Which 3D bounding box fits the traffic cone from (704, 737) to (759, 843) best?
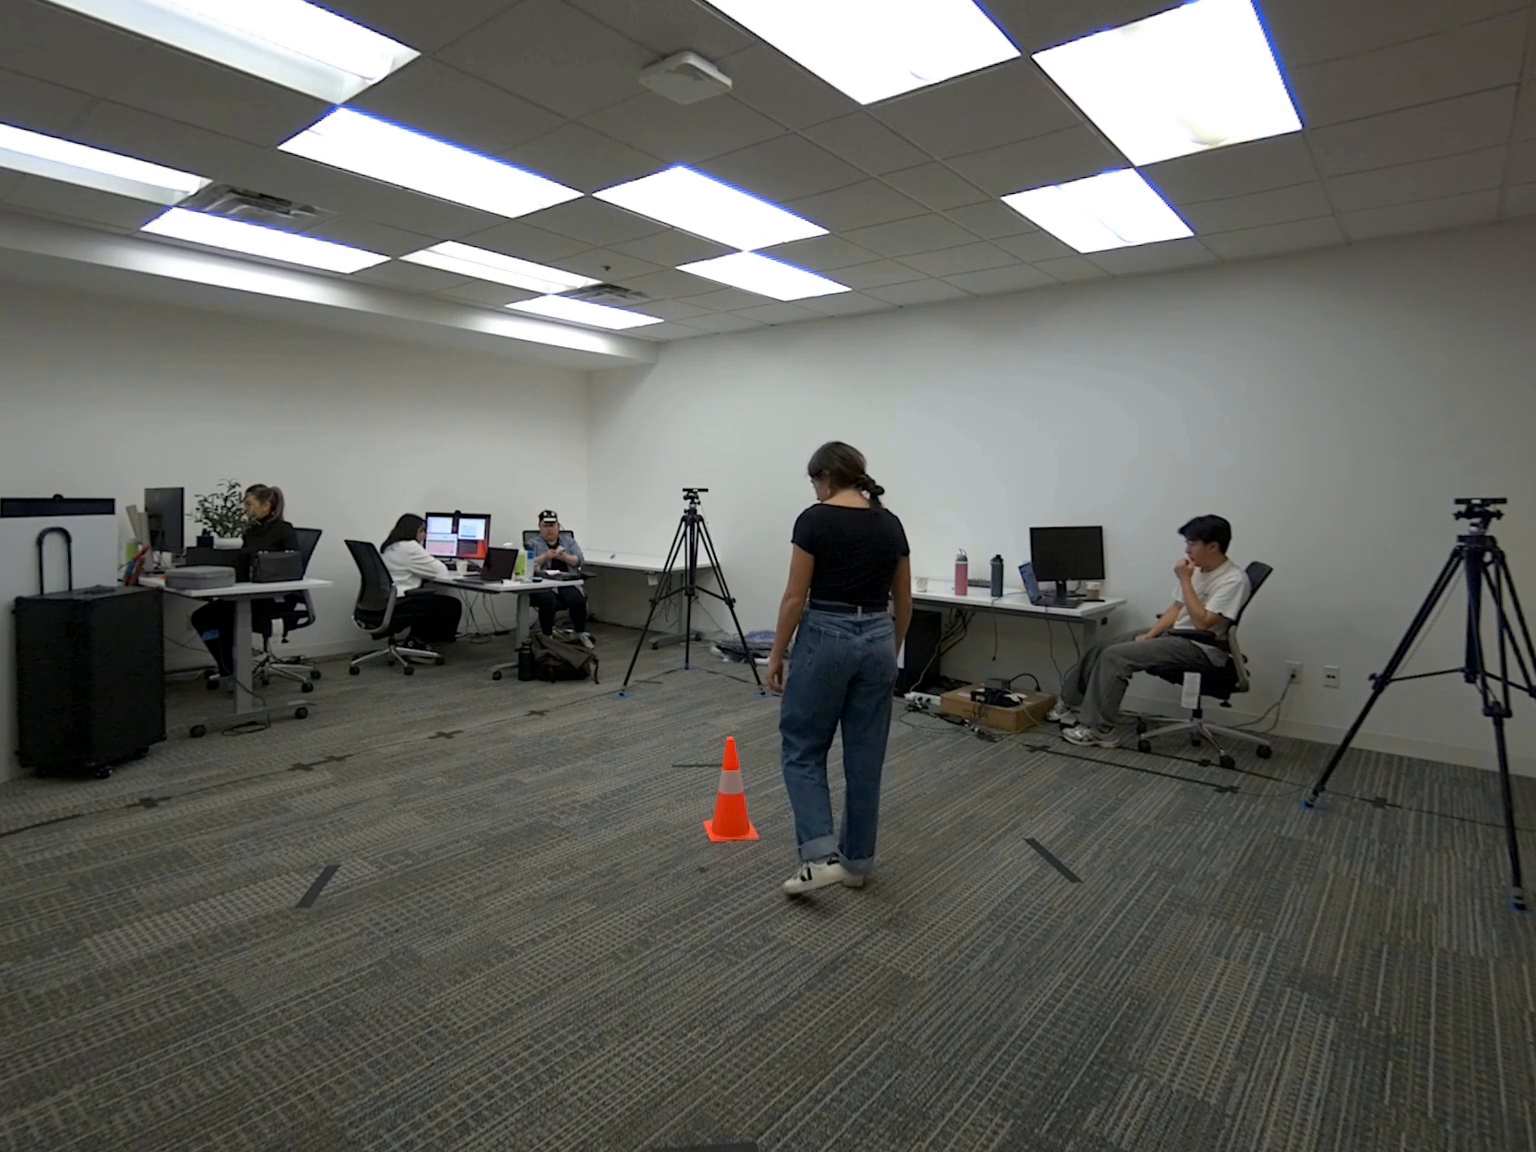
[{"bbox_3d":[-0.148,0.845,3.464,0.201,0.382,0.208,-1,5,-12],"label":"traffic cone"}]
